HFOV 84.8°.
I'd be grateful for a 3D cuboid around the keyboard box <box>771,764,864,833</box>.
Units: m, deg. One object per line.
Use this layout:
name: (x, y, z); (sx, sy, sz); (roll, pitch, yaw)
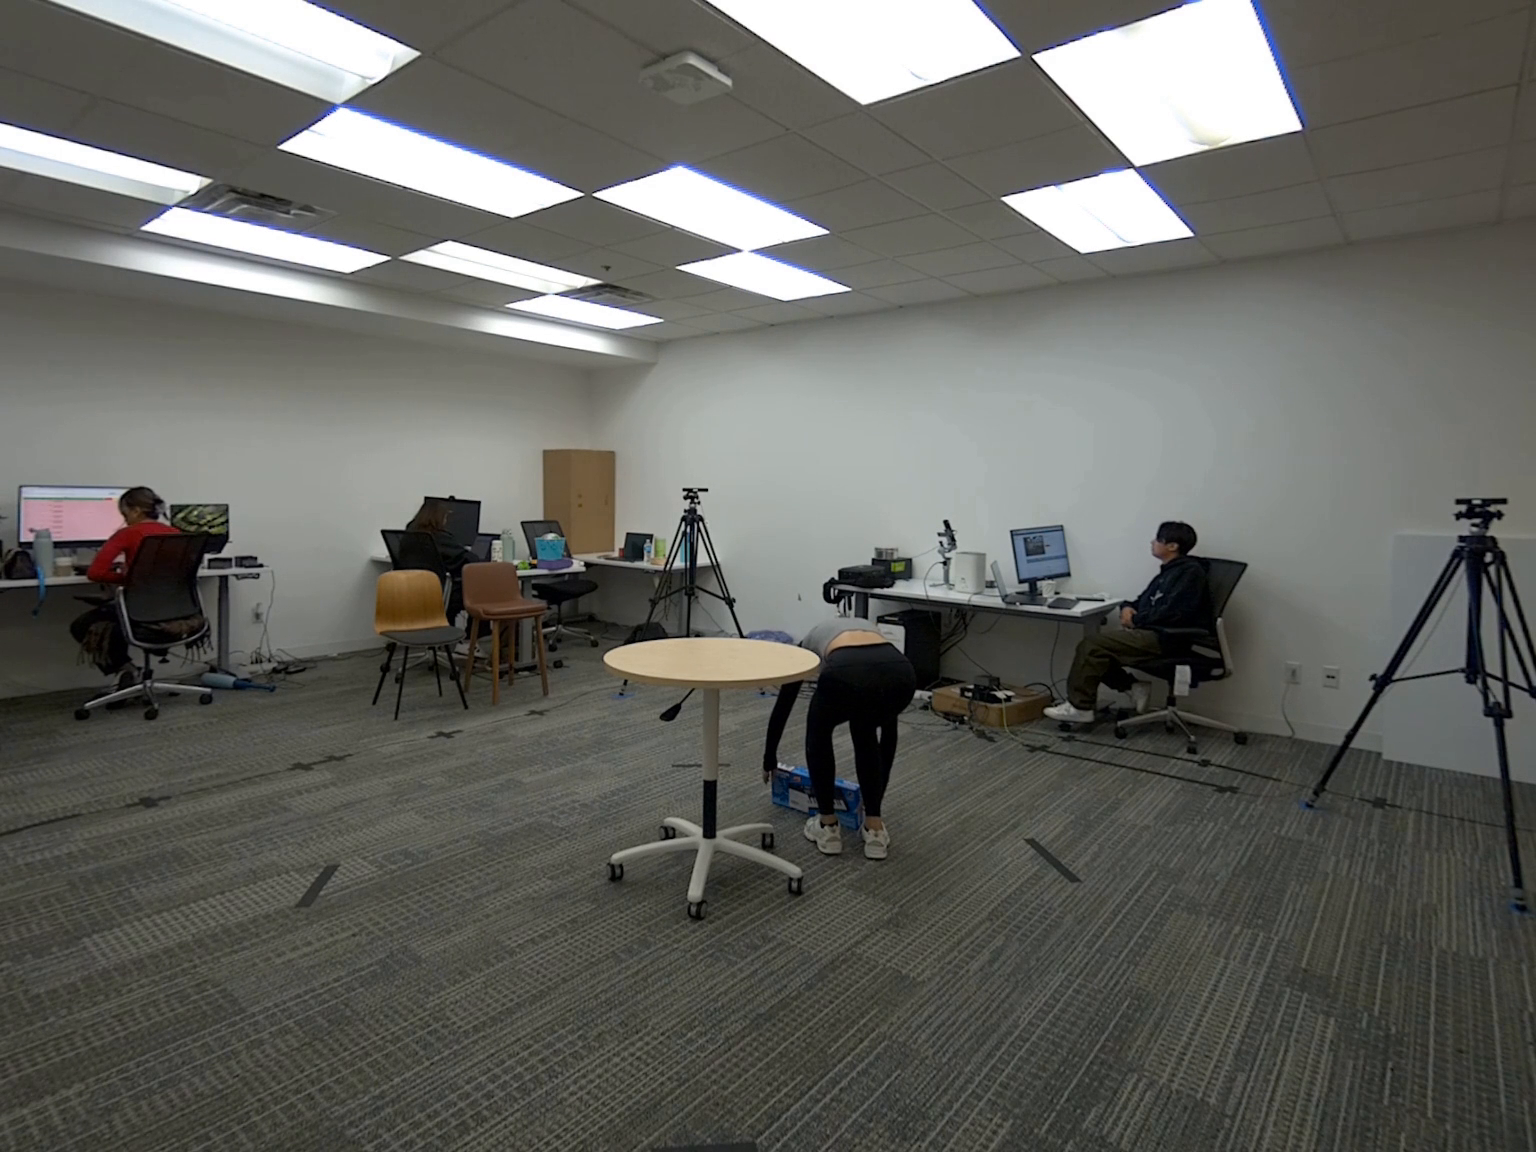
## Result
keyboard box: (0.196, 0.936, 3.656); (0.451, 0.174, 0.057); (5, 10, 39)
